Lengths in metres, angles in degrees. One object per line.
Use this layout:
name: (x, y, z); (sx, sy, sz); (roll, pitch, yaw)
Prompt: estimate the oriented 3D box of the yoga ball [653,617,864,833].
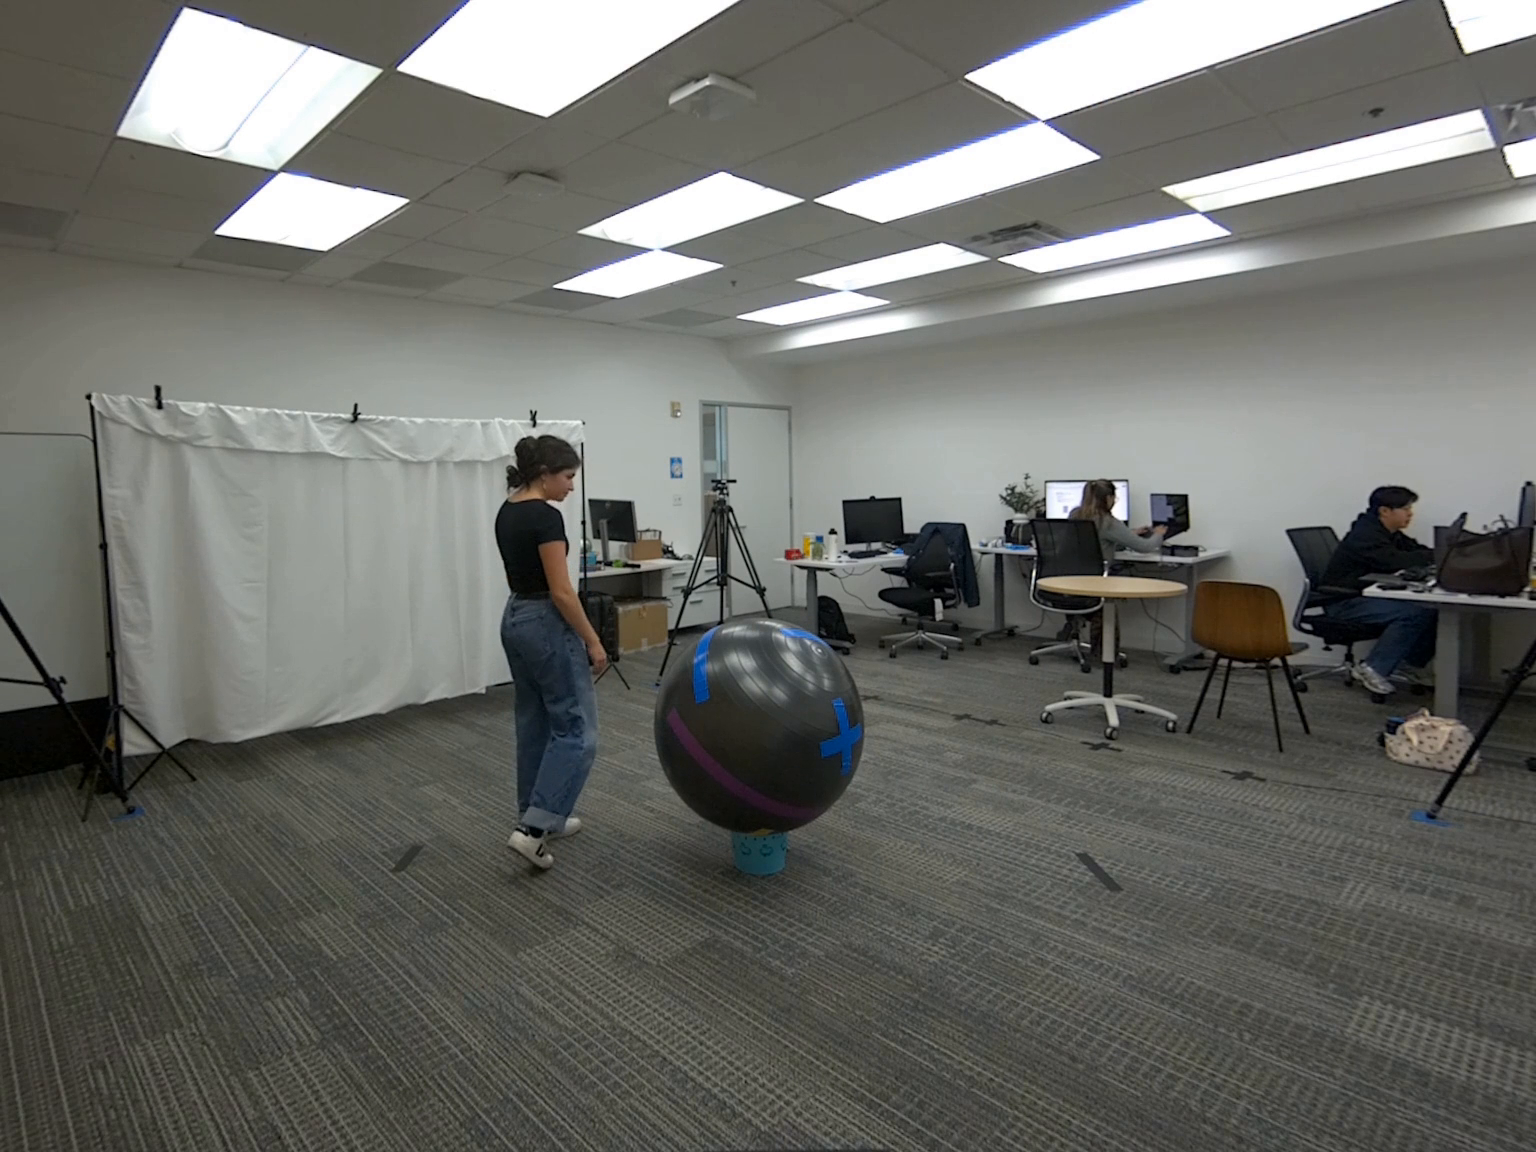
yoga ball: (-0.031, 0.539, 3.087); (0.757, 0.755, 0.762); (-1, 5, -2)
